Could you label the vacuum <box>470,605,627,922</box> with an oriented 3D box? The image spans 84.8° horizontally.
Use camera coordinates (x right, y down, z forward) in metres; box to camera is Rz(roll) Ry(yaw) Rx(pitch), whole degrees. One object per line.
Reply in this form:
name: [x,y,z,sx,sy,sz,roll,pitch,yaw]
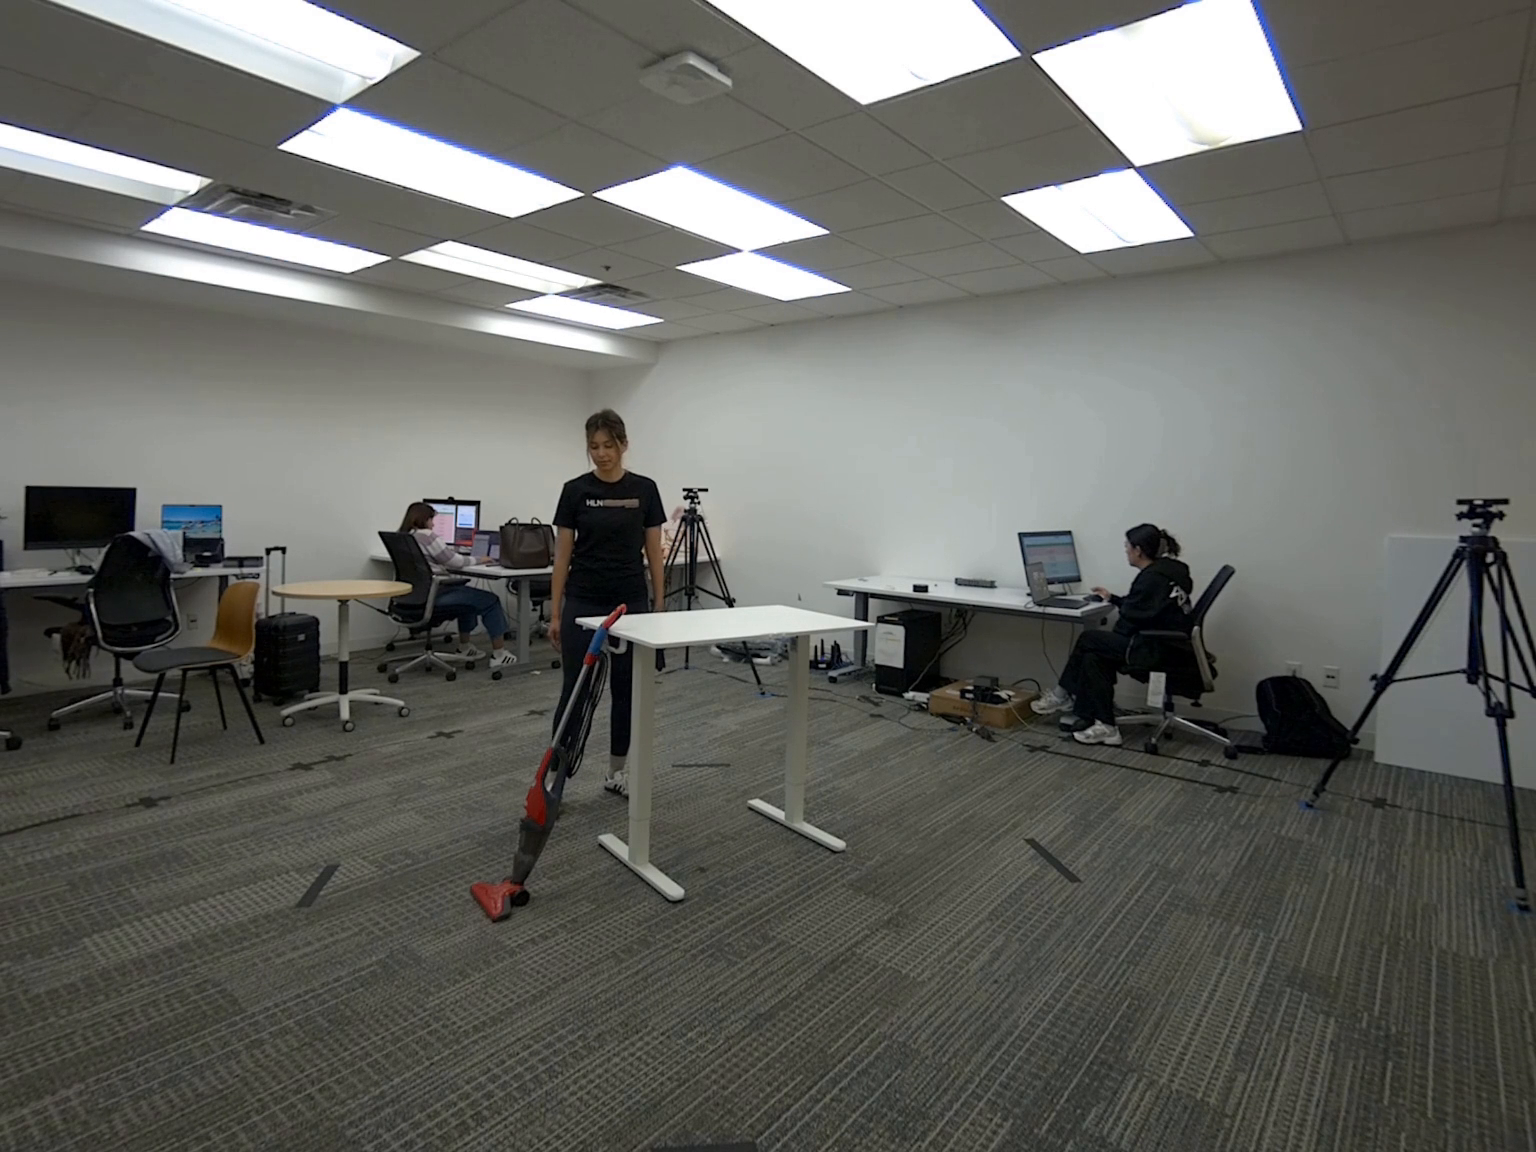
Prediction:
vacuum: [-0.720,0.597,2.933,0.262,1.056,0.138,10,-15,42]
